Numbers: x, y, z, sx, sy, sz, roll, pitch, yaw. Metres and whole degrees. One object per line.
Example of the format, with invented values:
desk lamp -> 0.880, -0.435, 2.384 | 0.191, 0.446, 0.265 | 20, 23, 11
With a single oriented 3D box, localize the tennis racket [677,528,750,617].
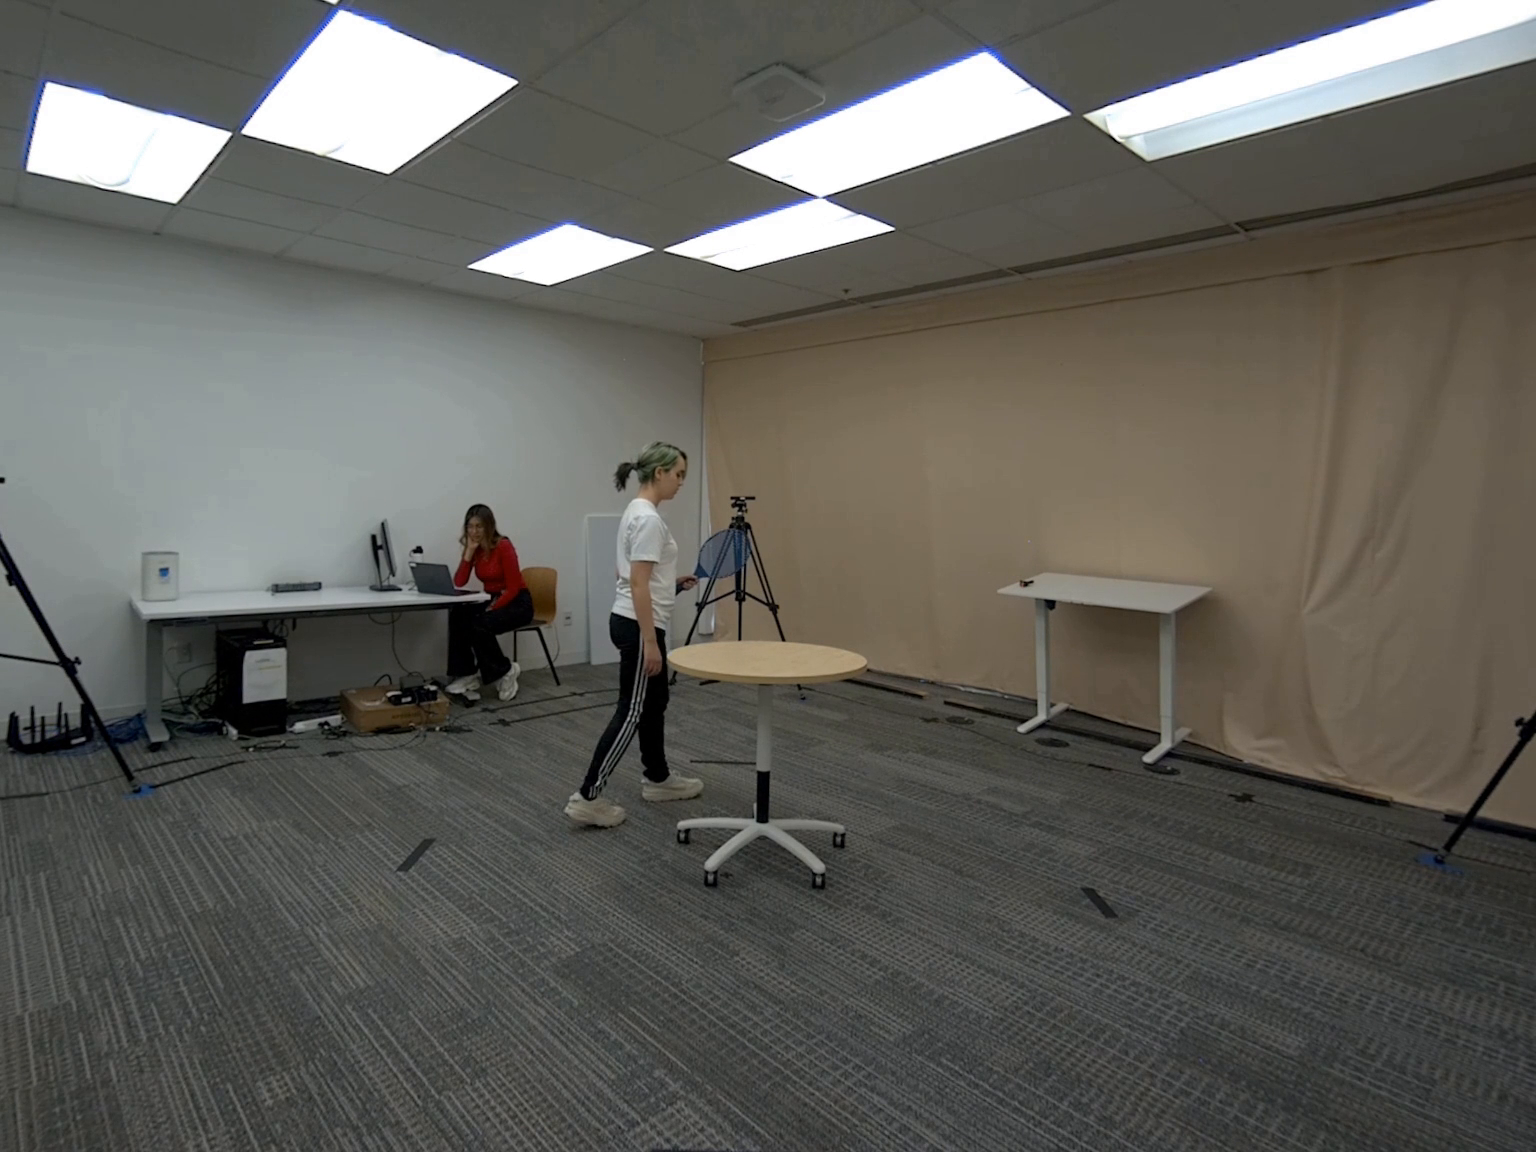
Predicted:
tennis racket -> -0.281, -0.054, 3.906 | 0.432, 0.211, 0.032 | -35, 12, -5
